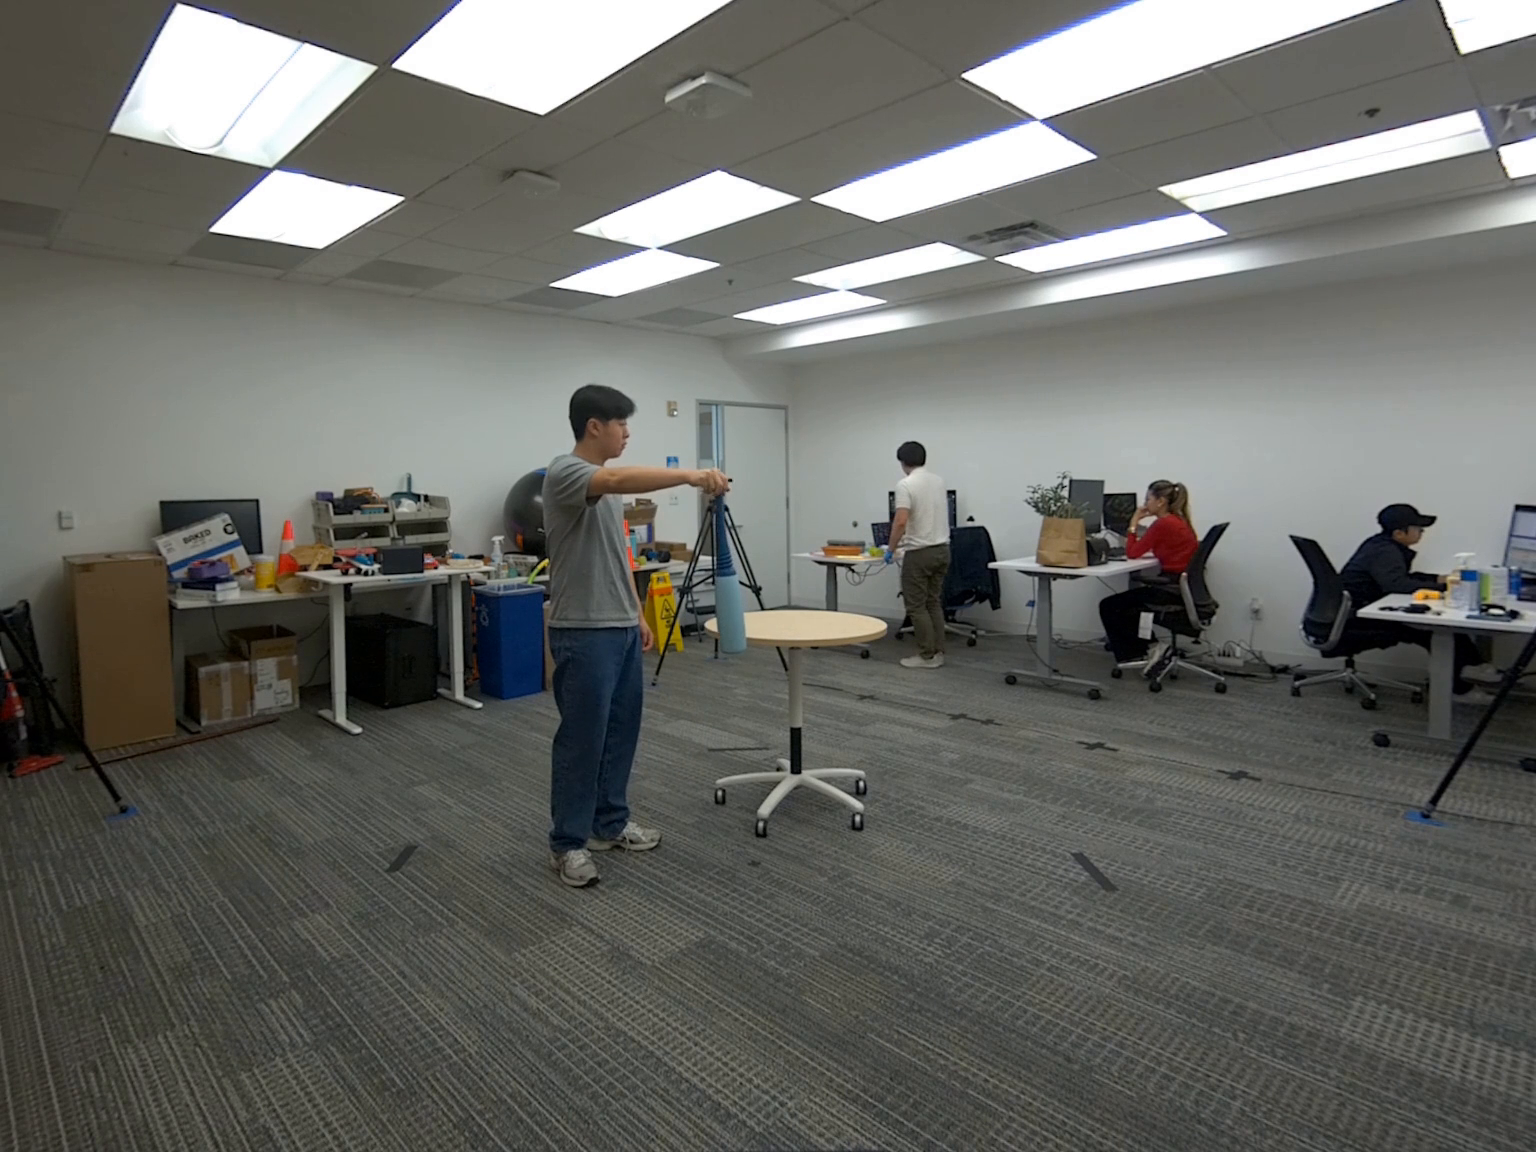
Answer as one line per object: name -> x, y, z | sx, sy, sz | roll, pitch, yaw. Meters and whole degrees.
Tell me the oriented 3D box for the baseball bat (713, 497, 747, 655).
baseball bat -> -0.132, -0.016, 2.704 | 0.089, 0.539, 0.090 | -4, 7, -1
